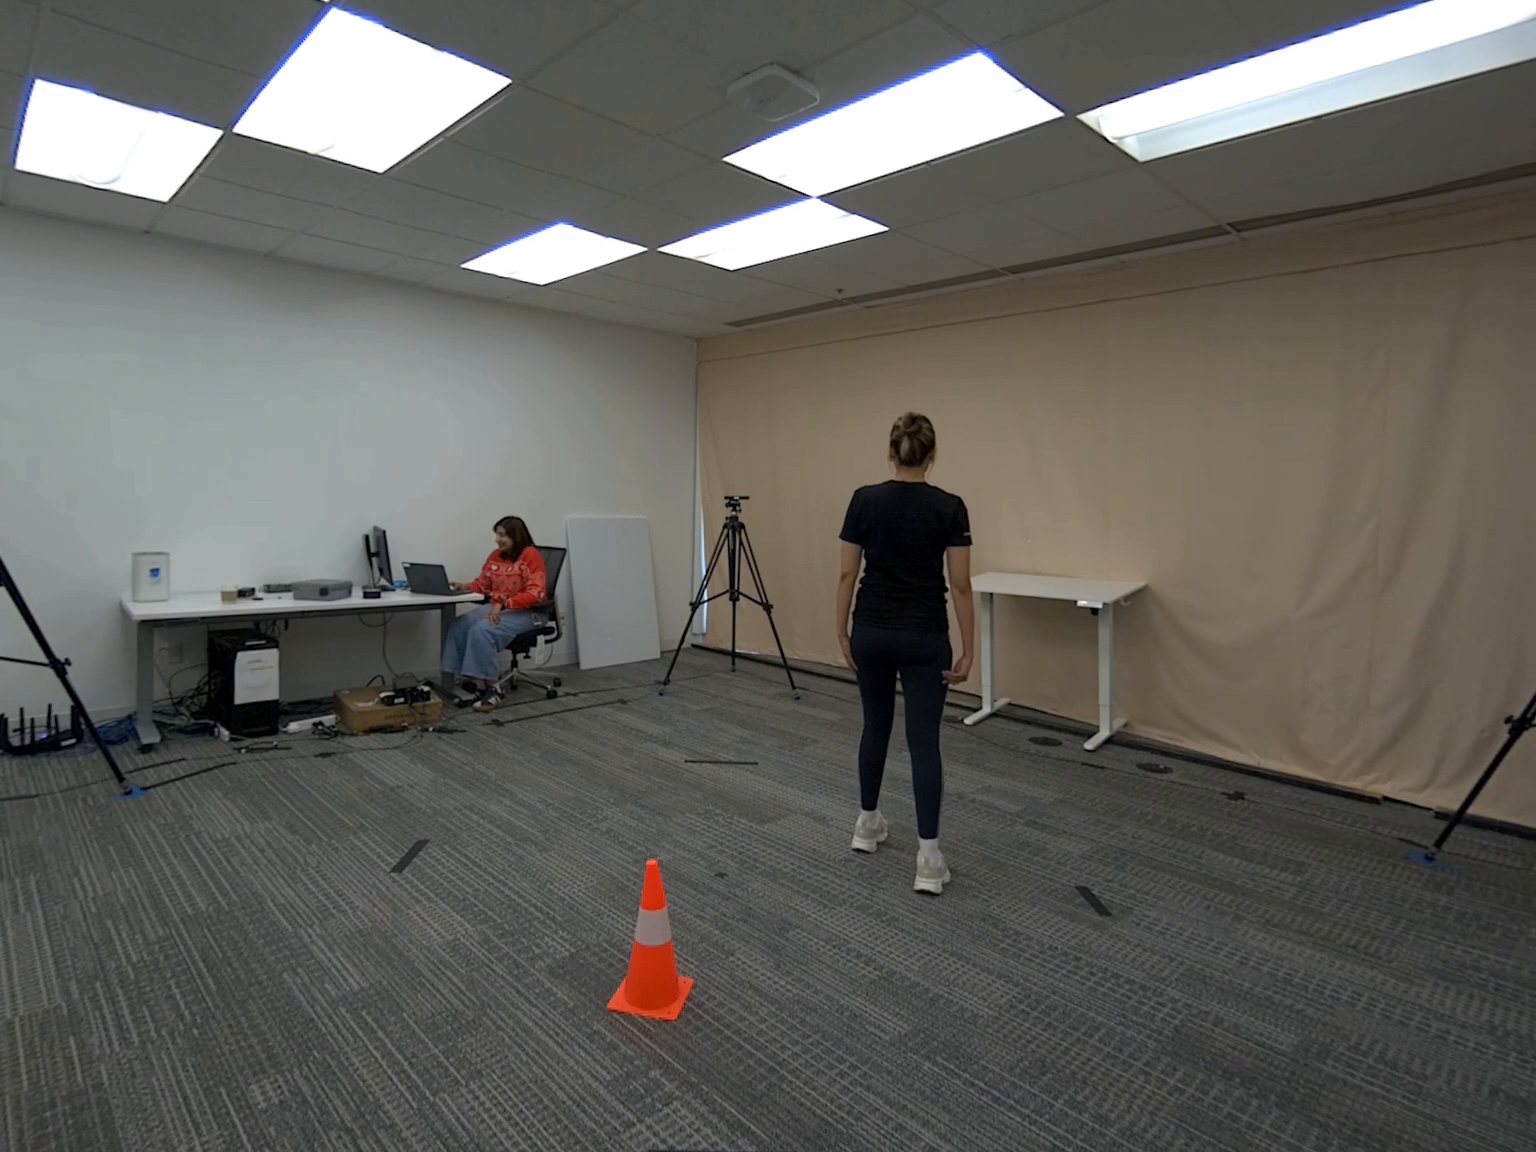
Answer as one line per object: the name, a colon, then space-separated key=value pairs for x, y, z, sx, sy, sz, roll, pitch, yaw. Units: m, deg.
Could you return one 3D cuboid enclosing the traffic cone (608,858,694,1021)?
traffic cone: x=-0.327 y=0.987 z=2.335 sx=0.206 sy=0.383 sz=0.203 roll=2 pitch=4 yaw=15
